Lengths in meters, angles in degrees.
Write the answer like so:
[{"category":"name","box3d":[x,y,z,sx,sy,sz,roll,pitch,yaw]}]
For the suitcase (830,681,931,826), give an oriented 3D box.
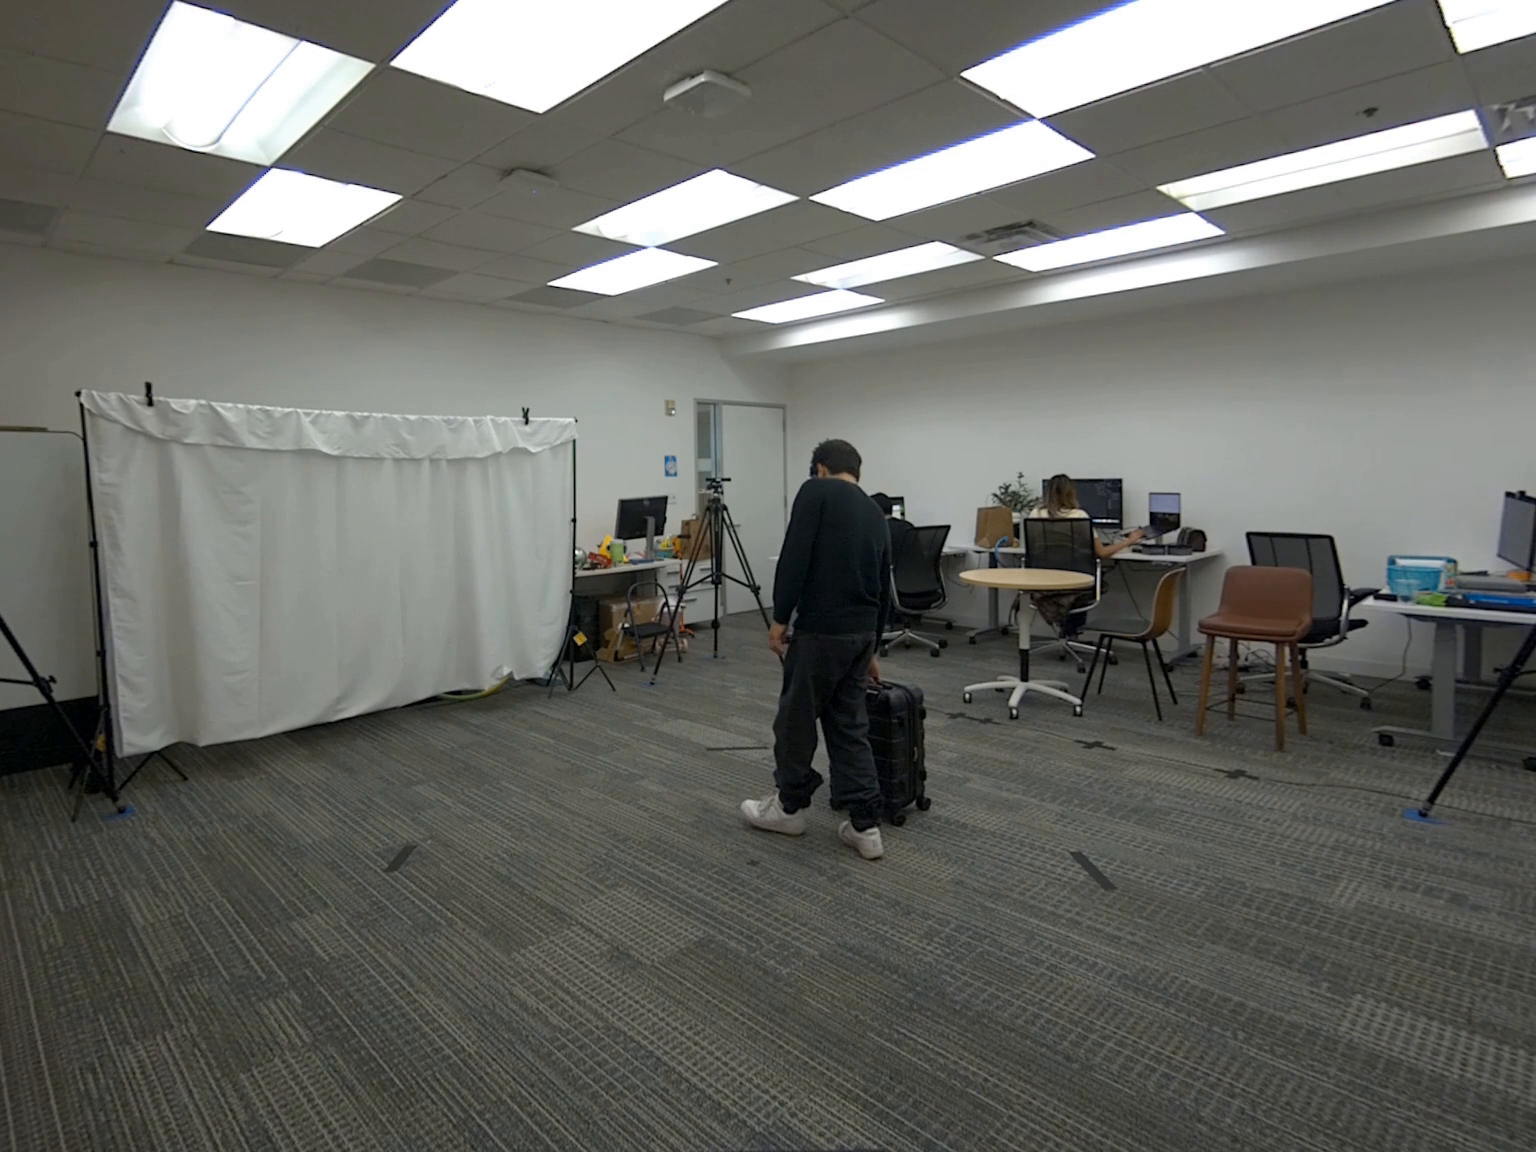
[{"category":"suitcase","box3d":[0.460,0.704,3.587,0.387,0.548,0.242,2,5,42]}]
